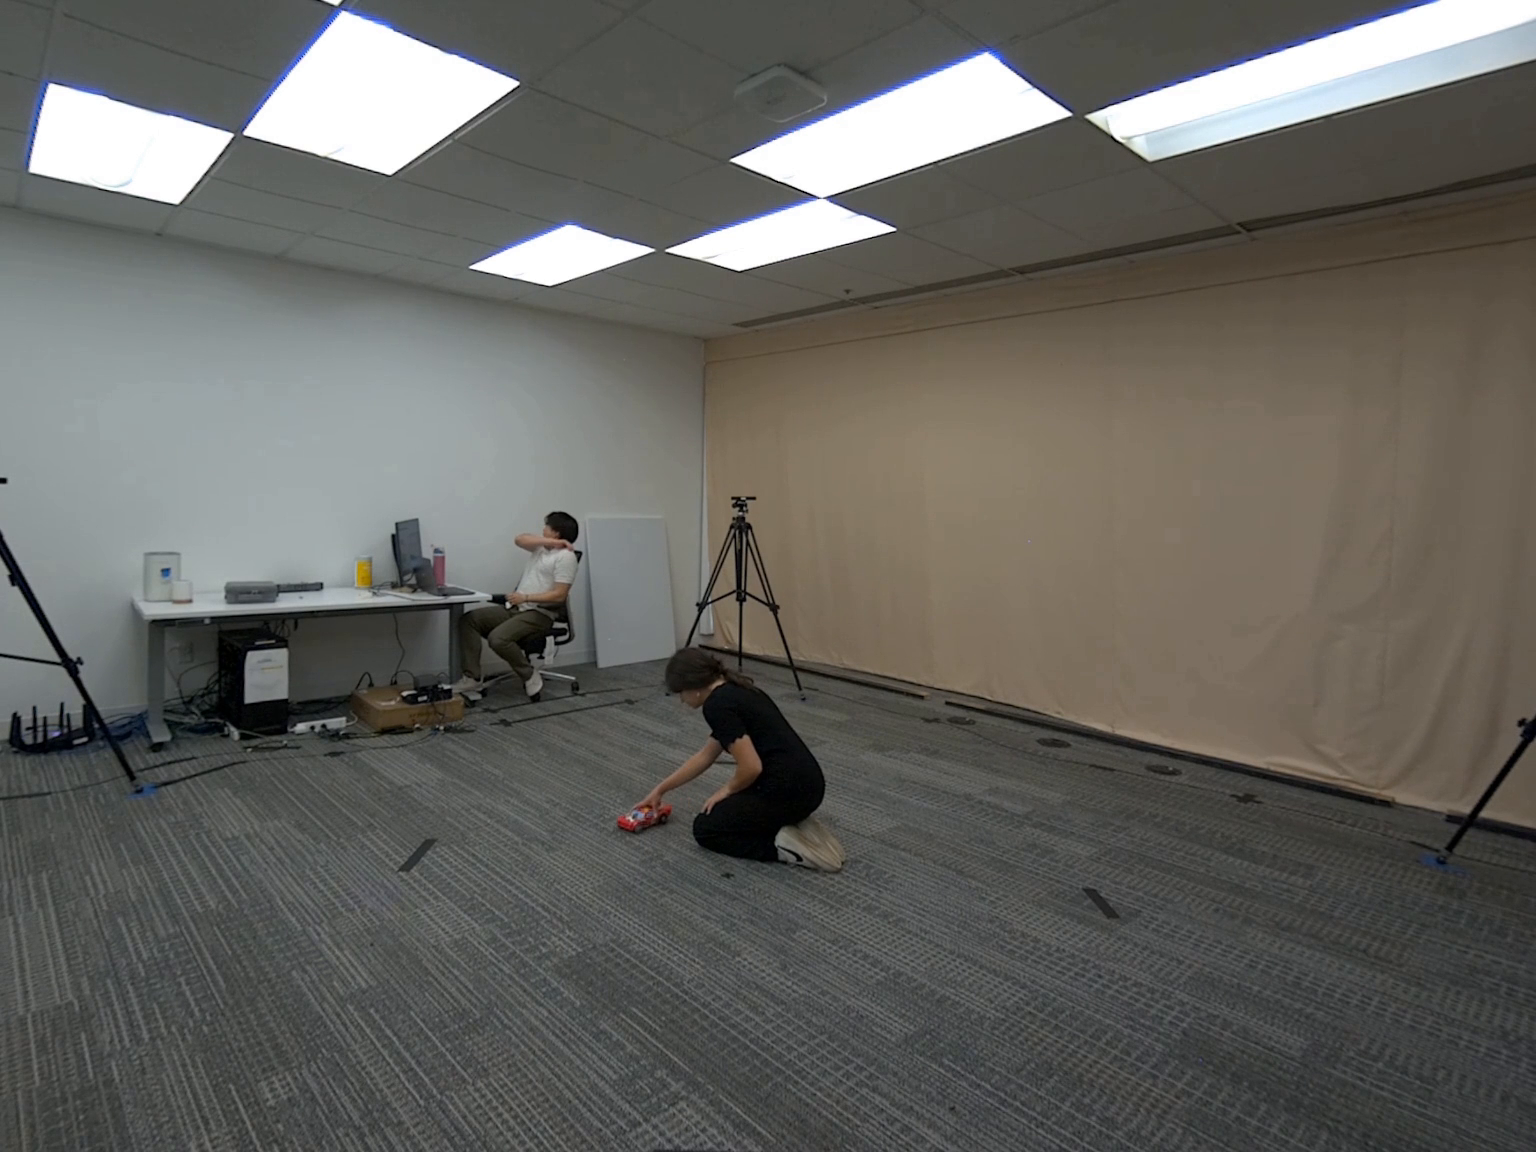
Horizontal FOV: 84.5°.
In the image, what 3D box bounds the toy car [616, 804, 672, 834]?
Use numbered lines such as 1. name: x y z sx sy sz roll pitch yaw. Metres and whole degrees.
1. toy car: -0.519 1.019 3.576 0.133 0.082 0.250 2 15 40
